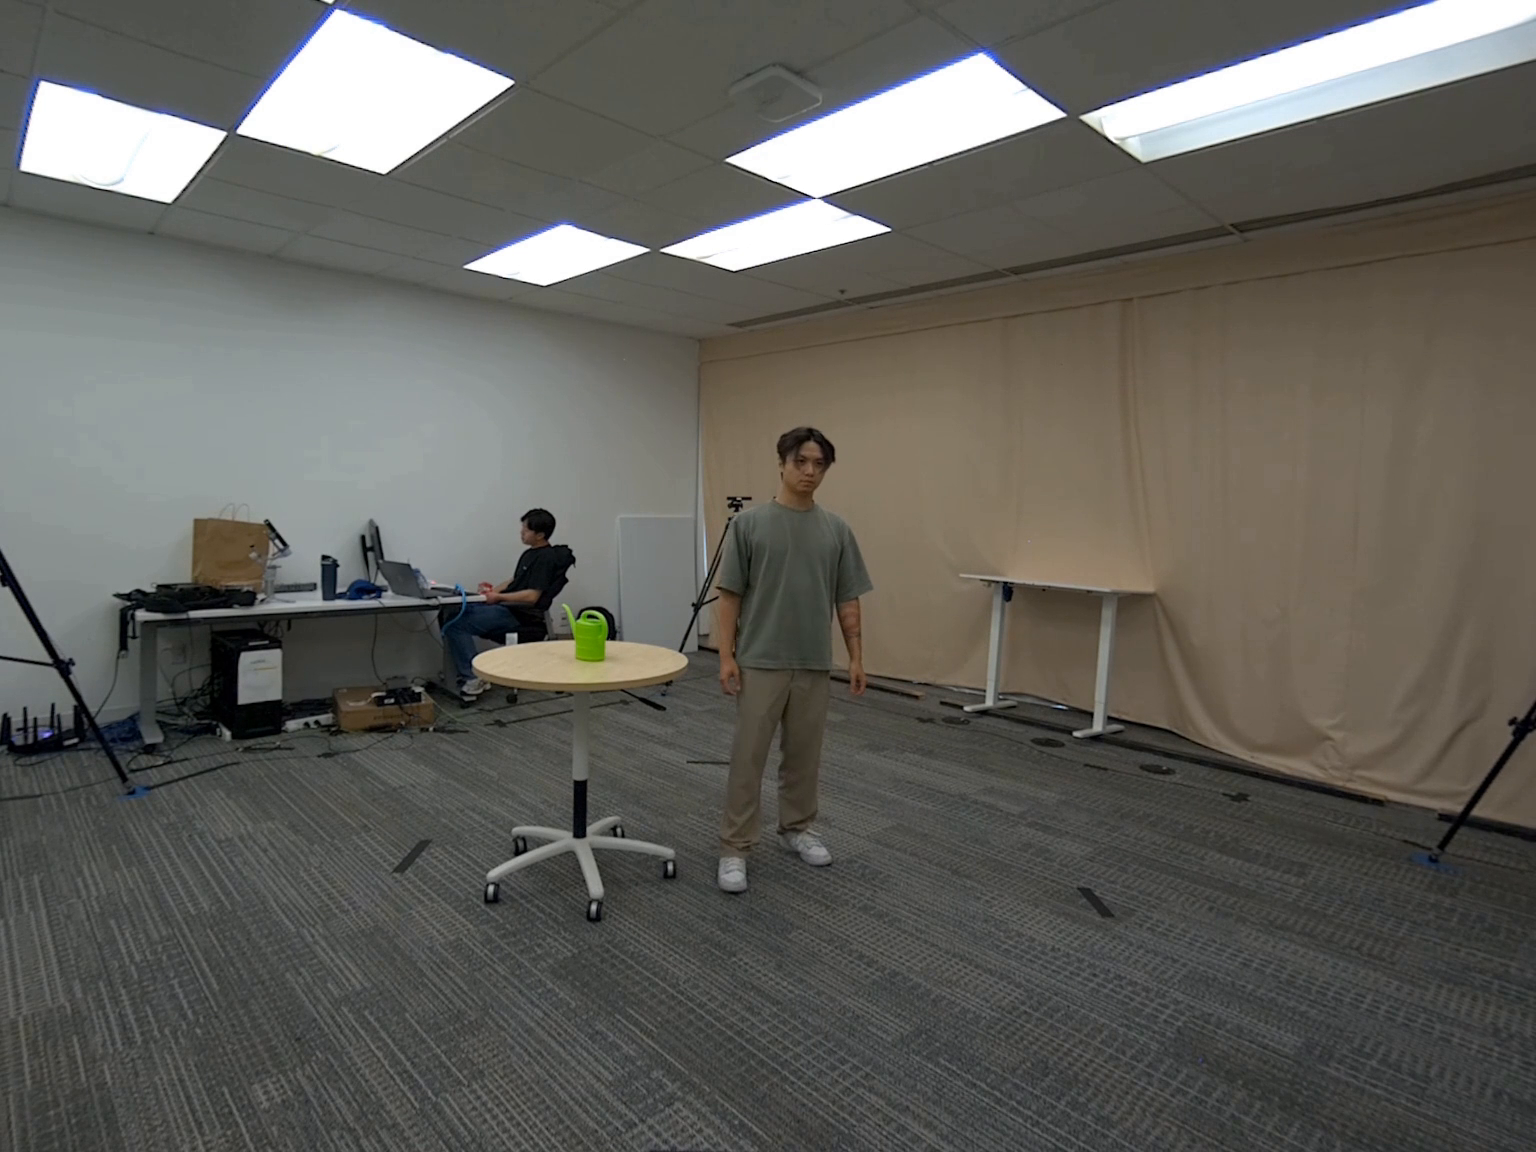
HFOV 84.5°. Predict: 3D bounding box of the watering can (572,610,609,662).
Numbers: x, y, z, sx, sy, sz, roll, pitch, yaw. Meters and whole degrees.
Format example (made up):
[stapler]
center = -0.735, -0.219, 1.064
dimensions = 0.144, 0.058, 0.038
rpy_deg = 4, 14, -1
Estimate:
[watering can]
center = -0.663, 0.212, 3.097
dimensions = 0.096, 0.176, 0.285
rpy_deg = 2, 4, -30
